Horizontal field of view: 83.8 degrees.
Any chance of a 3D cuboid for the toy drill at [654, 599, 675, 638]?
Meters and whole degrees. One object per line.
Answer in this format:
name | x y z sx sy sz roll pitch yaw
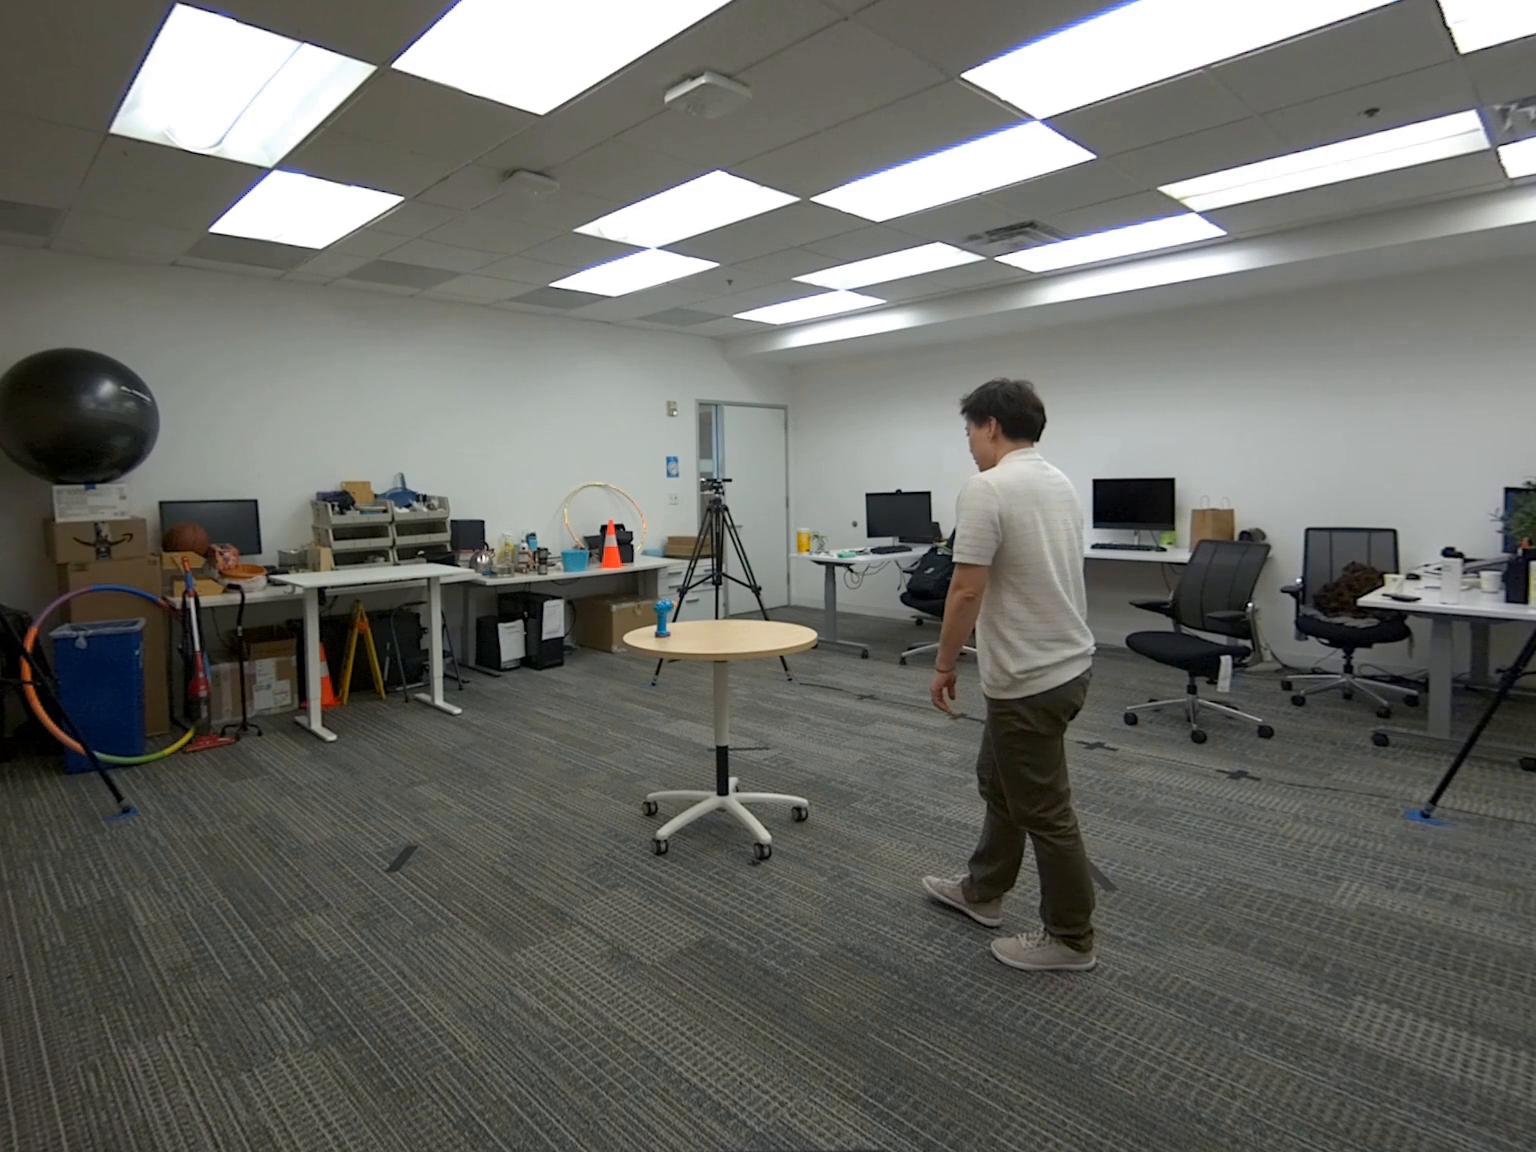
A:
toy drill | -0.406 0.161 3.395 0.062 0.145 0.168 3 5 16
